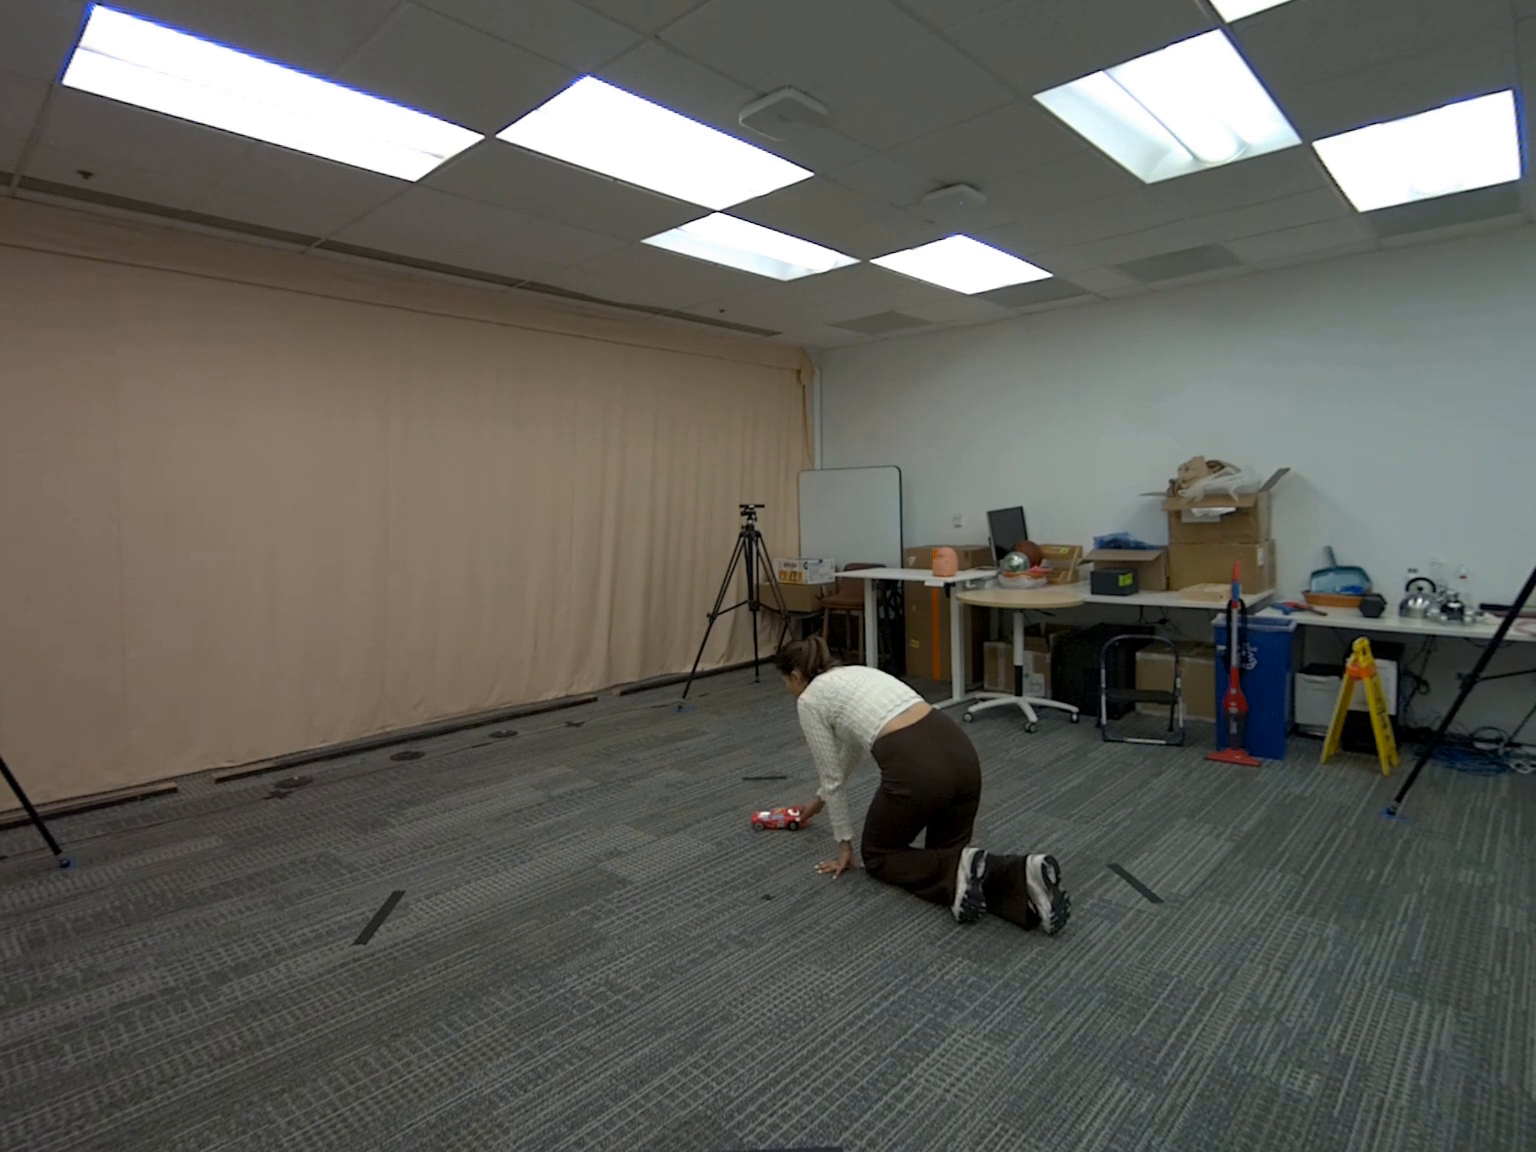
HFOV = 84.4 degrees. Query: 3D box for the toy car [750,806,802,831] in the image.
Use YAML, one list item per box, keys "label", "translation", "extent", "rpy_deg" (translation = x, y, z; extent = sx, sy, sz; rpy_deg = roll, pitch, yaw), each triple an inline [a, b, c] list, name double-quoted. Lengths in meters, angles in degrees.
- label: "toy car"
  translation: [0.062, 1.054, 3.643]
  extent: [0.256, 0.083, 0.130]
  rpy_deg: [-11, 4, 4]
